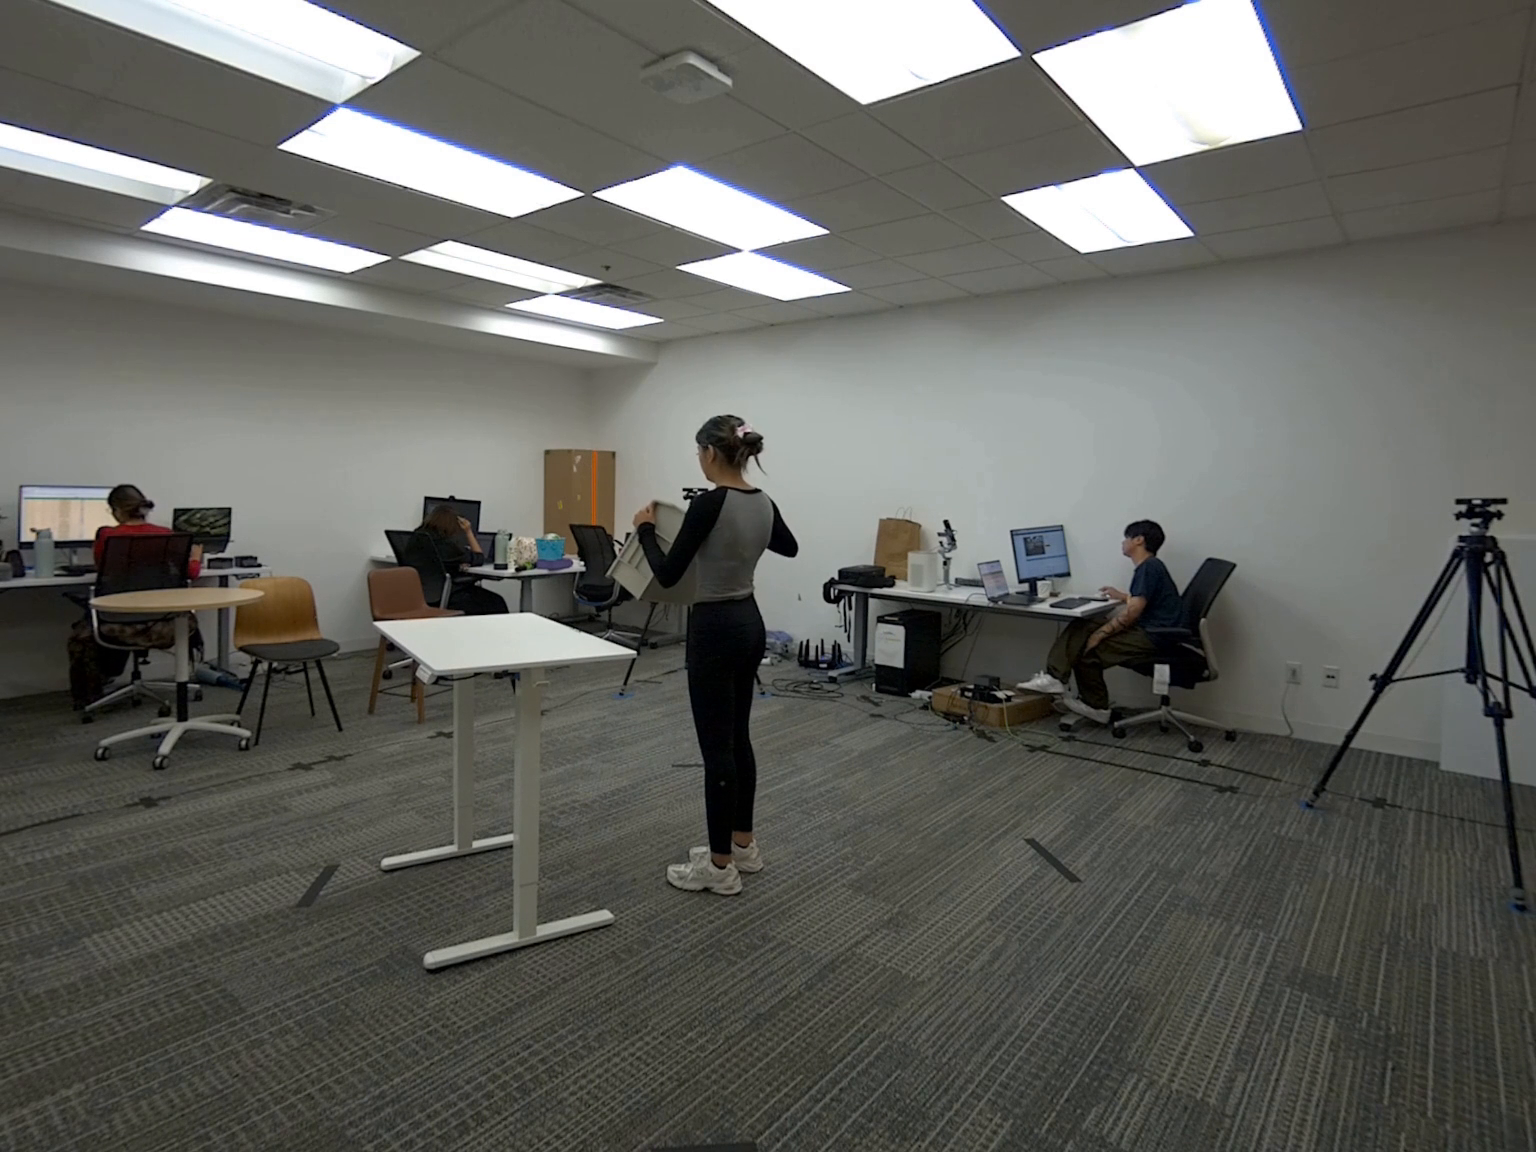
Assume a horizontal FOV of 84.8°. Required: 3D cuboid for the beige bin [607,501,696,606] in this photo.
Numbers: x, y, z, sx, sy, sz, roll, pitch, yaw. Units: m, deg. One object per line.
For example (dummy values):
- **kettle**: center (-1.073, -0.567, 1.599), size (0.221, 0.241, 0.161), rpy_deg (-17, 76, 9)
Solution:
- **beige bin**: center (-0.349, -0.082, 3.246), size (0.196, 0.376, 0.408), rpy_deg (38, 12, 29)
